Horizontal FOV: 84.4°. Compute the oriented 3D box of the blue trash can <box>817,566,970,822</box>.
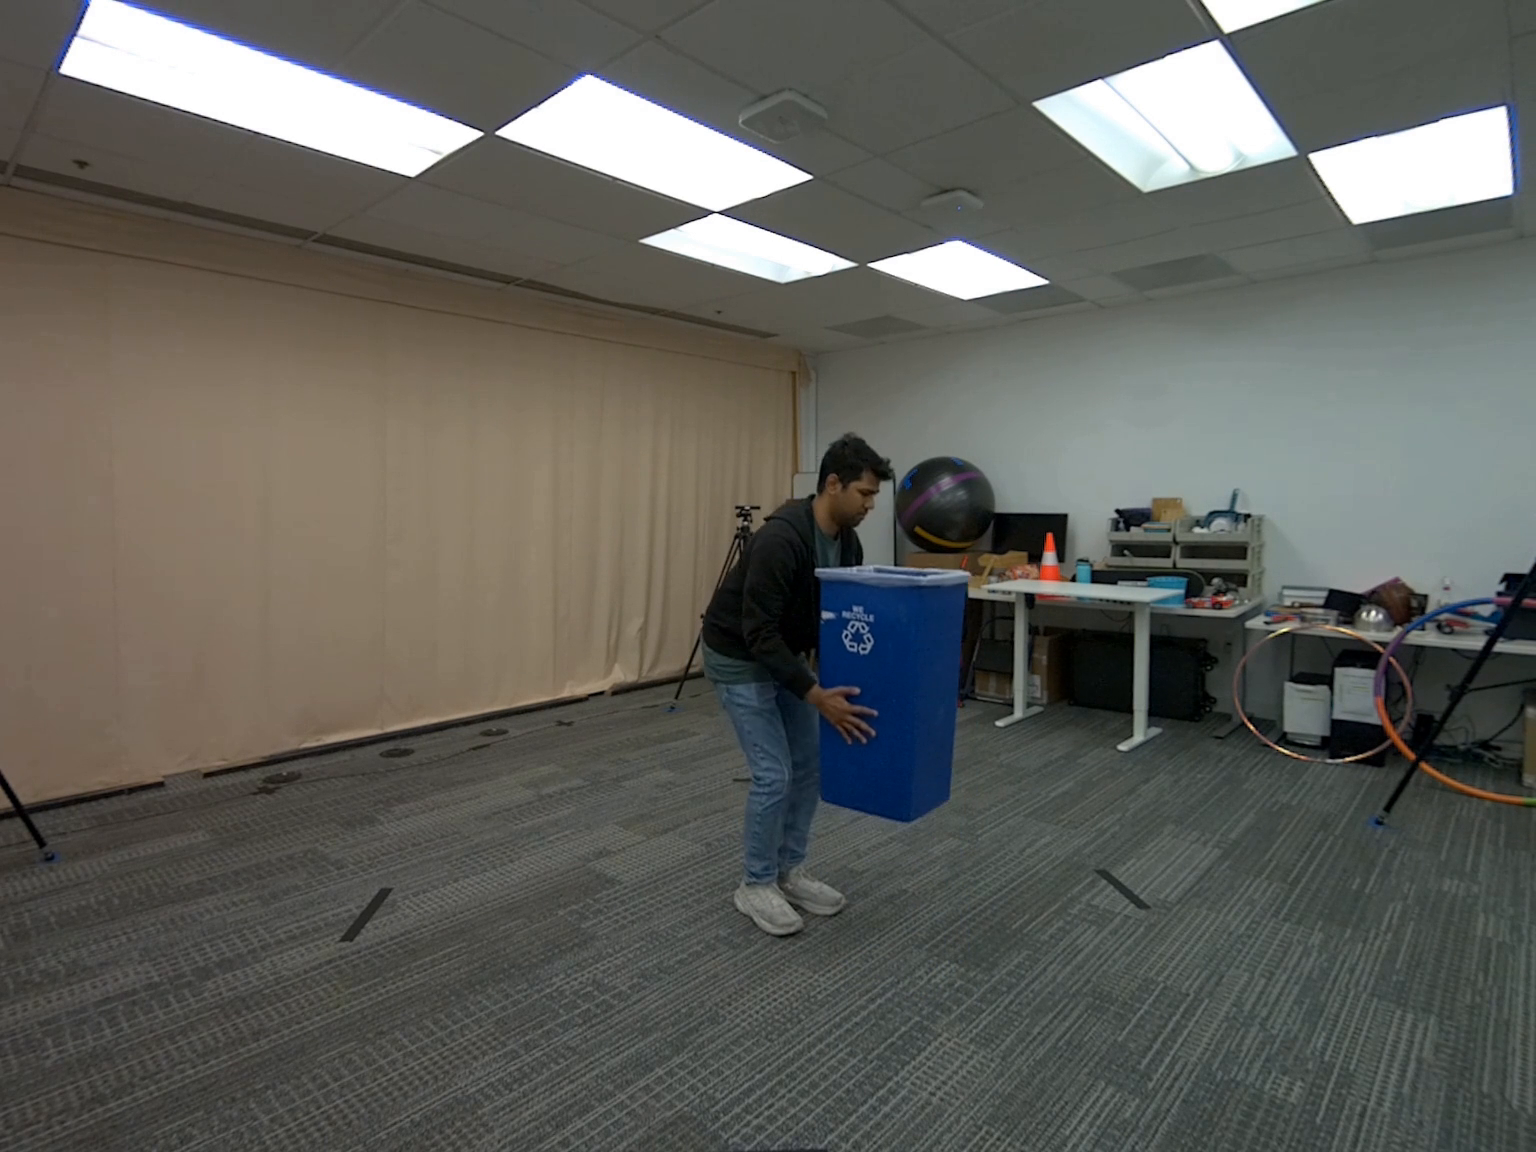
[{"bbox_3d":[0.390,0.352,2.593,0.386,0.712,0.367,3,3,37],"label":"blue trash can"}]
